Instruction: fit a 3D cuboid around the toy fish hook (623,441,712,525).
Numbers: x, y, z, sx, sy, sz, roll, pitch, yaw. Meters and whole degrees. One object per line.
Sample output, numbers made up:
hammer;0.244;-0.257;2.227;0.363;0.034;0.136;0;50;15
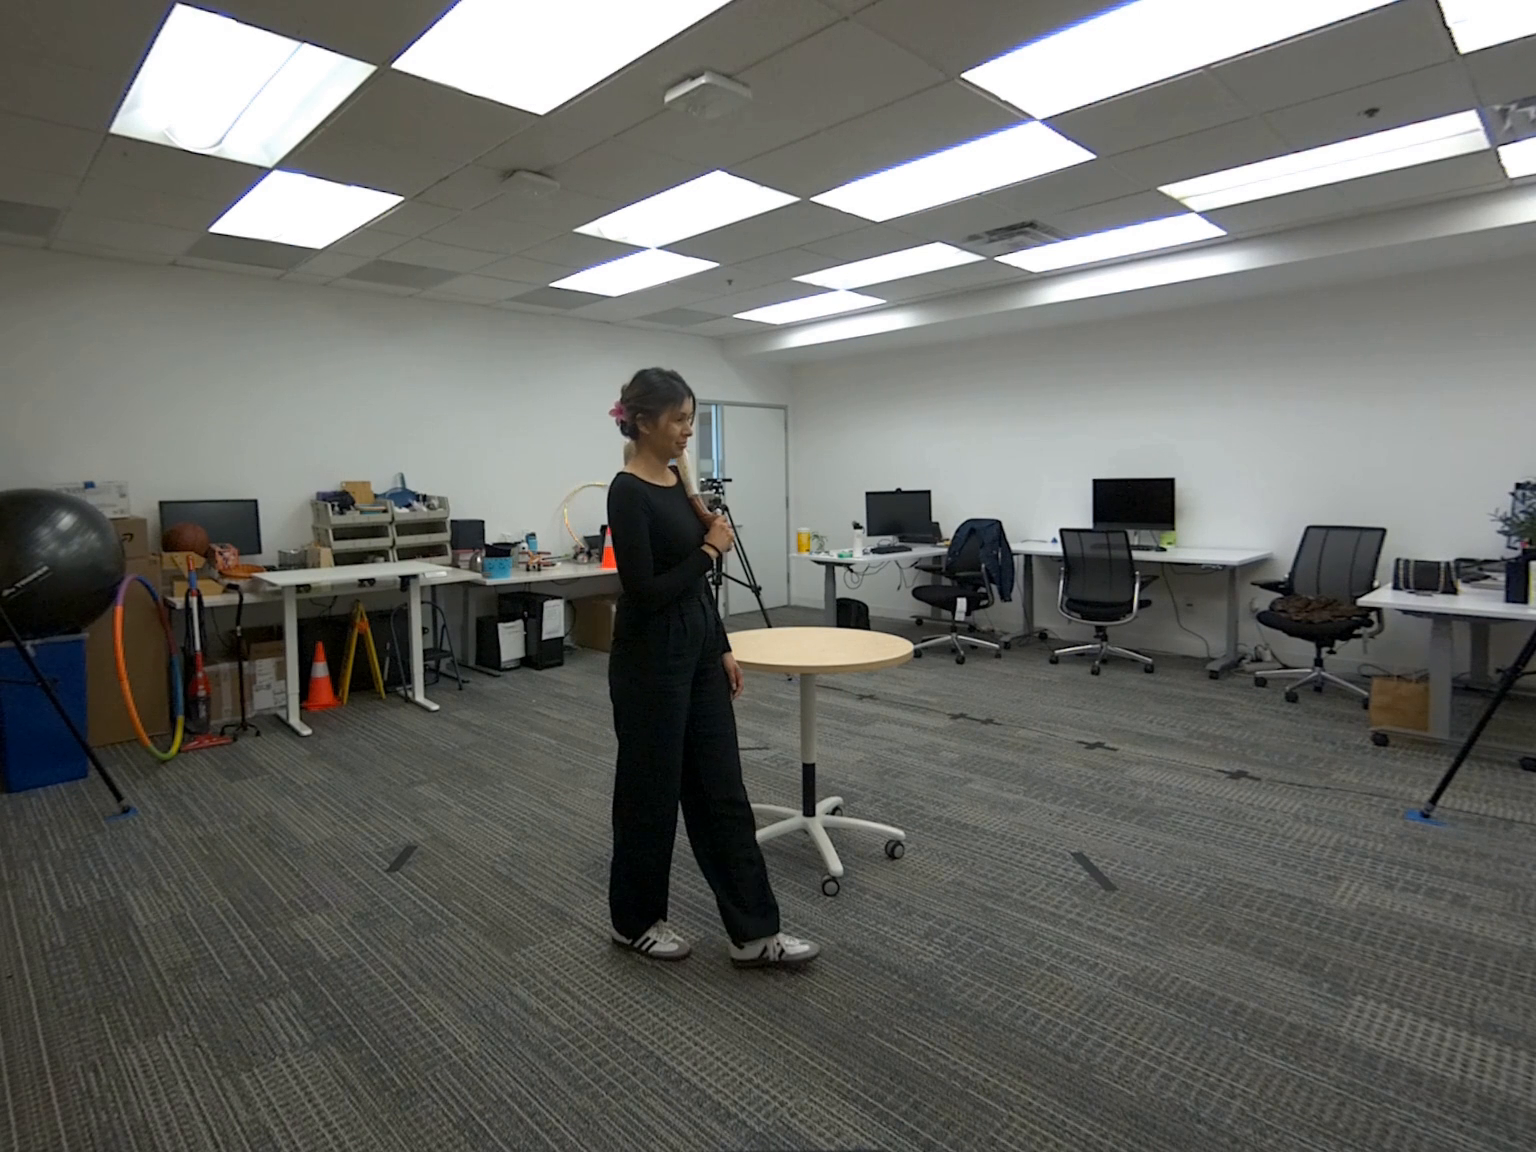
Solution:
toy fish hook;-0.273;-0.241;2.553;0.225;0.520;0.047;-40;-23;22
